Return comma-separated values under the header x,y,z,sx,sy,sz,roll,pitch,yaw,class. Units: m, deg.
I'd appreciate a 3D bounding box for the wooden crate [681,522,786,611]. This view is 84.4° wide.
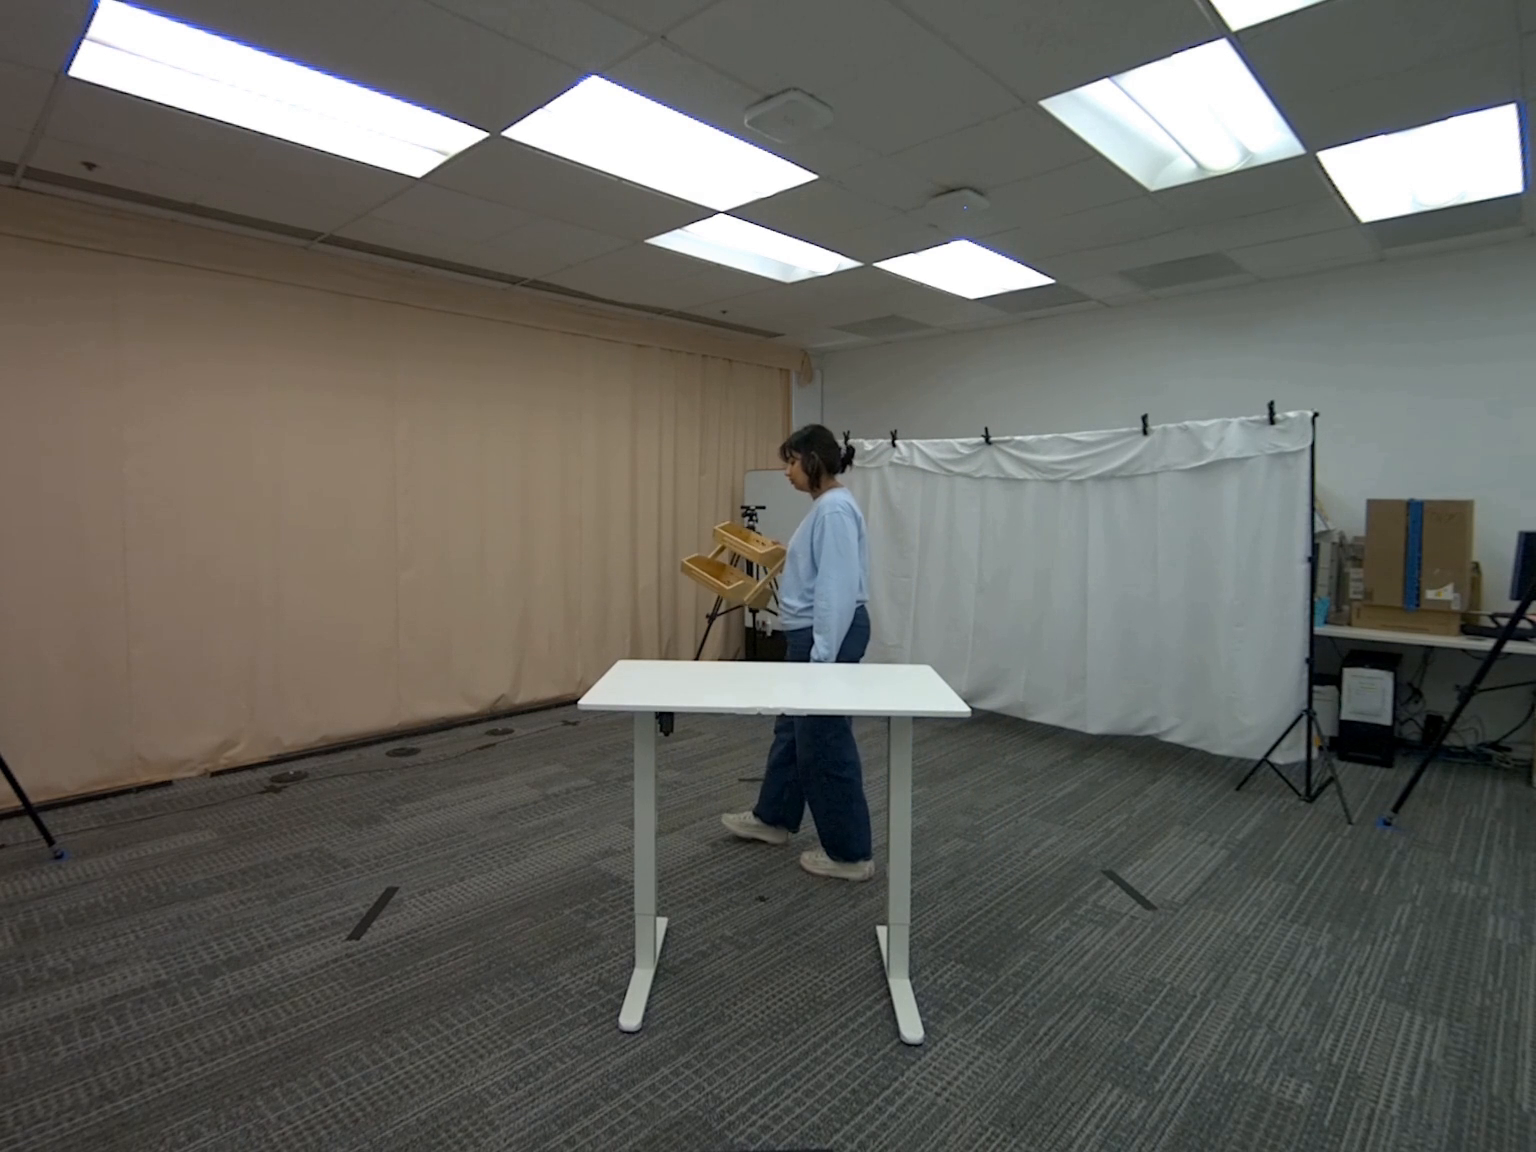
x,y,z,sx,sy,sz,roll,pitch,yaw,class
-0.119,-0.058,3.408,0.336,0.273,0.291,29,6,42,wooden crate
